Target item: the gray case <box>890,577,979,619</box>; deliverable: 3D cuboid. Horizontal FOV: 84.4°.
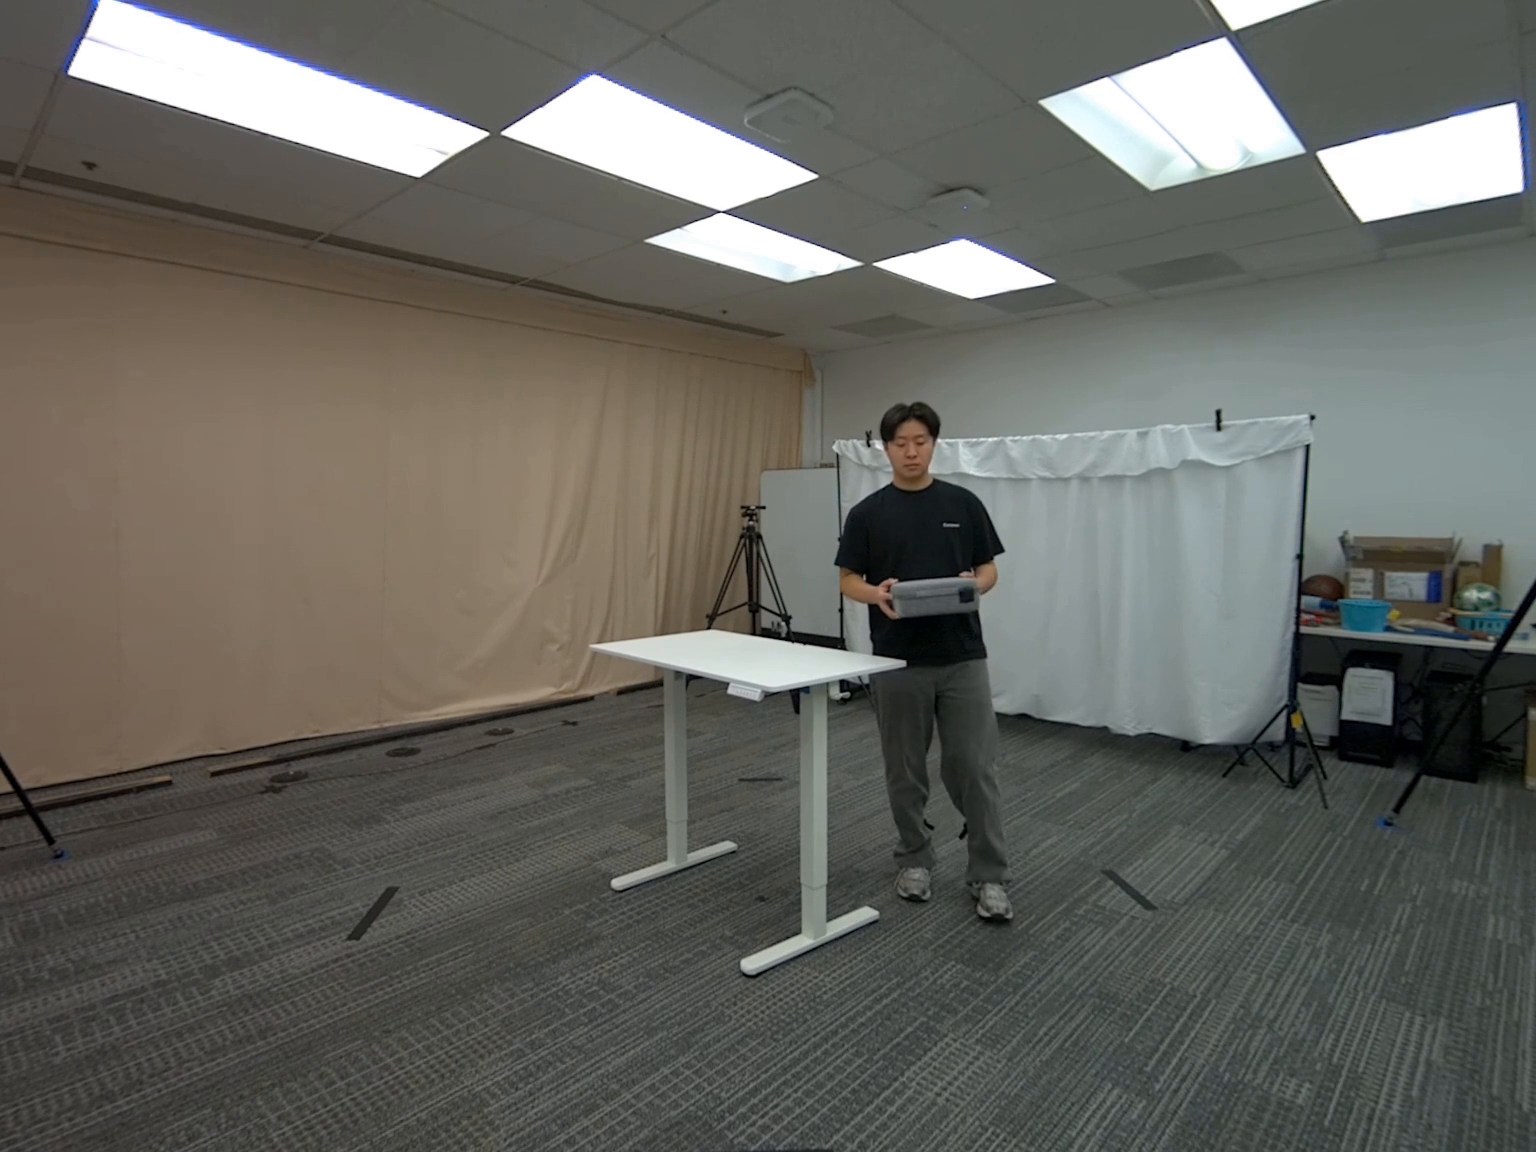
[{"bbox_3d":[0.528,0.065,2.712,0.291,0.103,0.260,-5,2,12],"label":"gray case"}]
